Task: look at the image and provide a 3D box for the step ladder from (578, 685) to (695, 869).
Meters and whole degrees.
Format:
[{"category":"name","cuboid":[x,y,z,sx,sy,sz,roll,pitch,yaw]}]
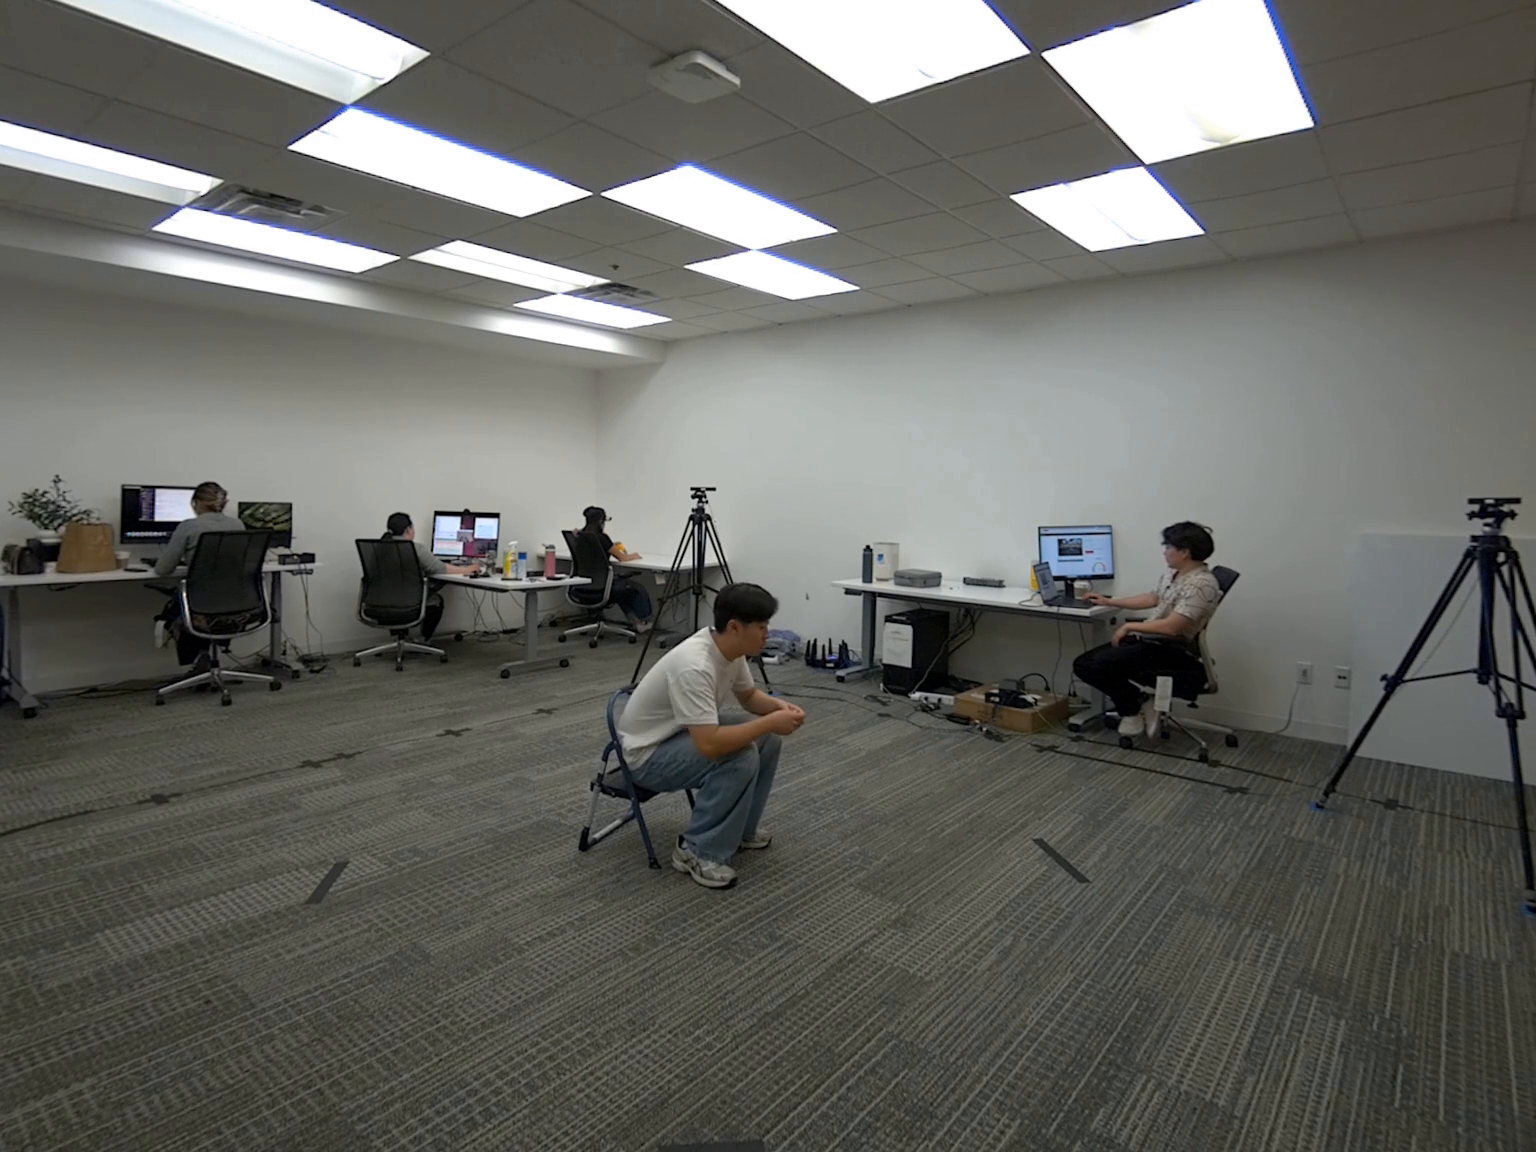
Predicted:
[{"category":"step ladder","cuboid":[-0.501,0.737,3.346,0.357,0.605,0.421,2,3,22]}]
